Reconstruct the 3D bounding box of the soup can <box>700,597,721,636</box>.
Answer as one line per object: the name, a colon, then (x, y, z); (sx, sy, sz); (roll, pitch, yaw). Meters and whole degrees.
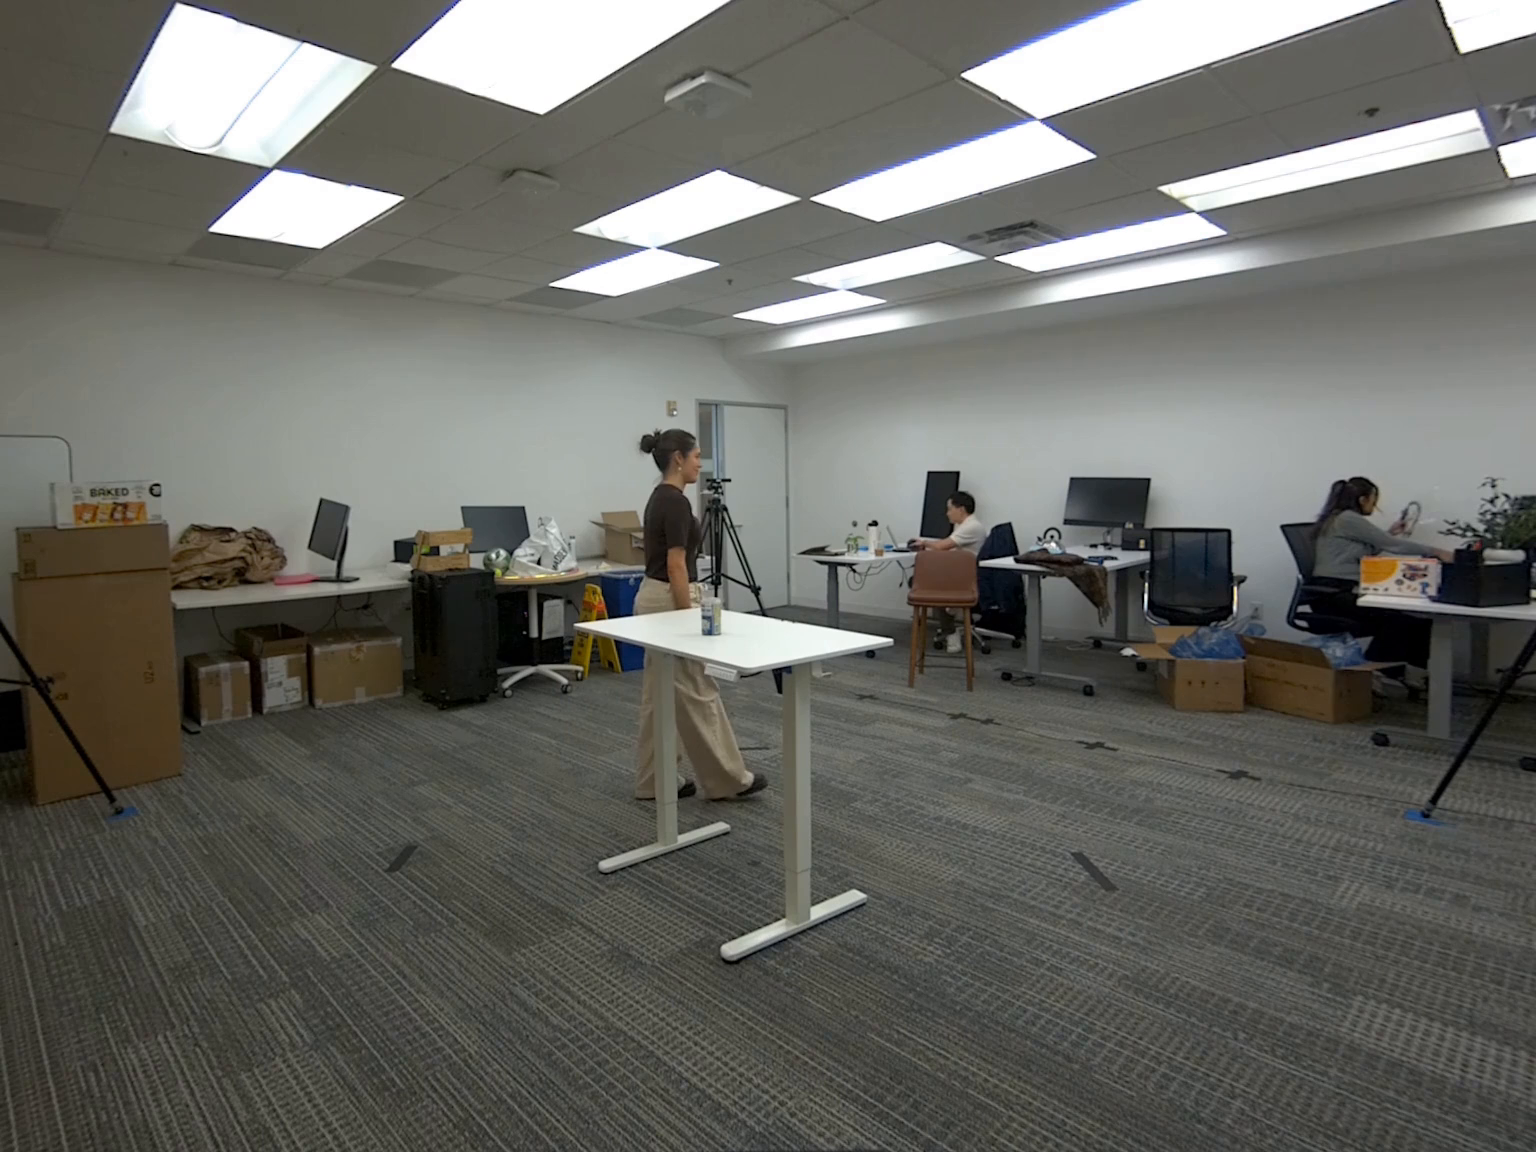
soup can: (-0.182, 0.137, 2.828); (0.067, 0.121, 0.067); (-2, 1, -2)
